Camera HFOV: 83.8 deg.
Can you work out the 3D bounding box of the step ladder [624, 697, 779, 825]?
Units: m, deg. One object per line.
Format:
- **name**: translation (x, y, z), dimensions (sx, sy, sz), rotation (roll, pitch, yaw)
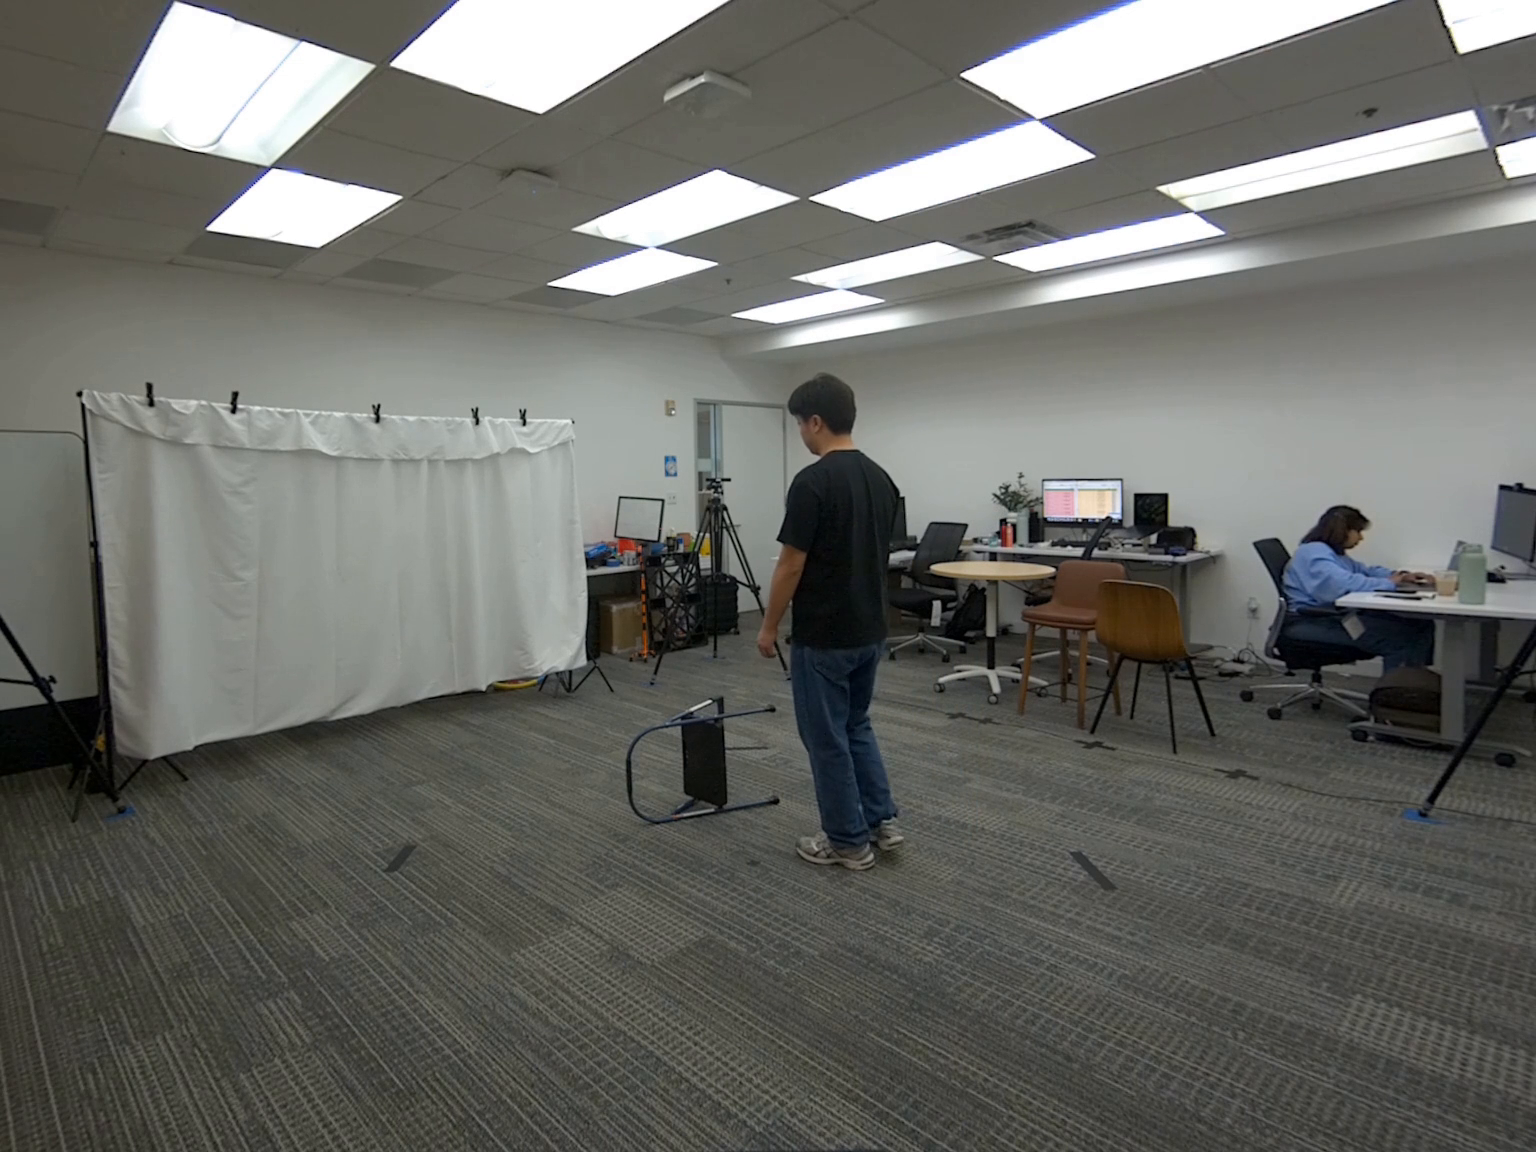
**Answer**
- **step ladder**: translation (-0.294, 0.783, 3.576), dimensions (0.590, 0.429, 0.360), rotation (-7, 6, -44)
